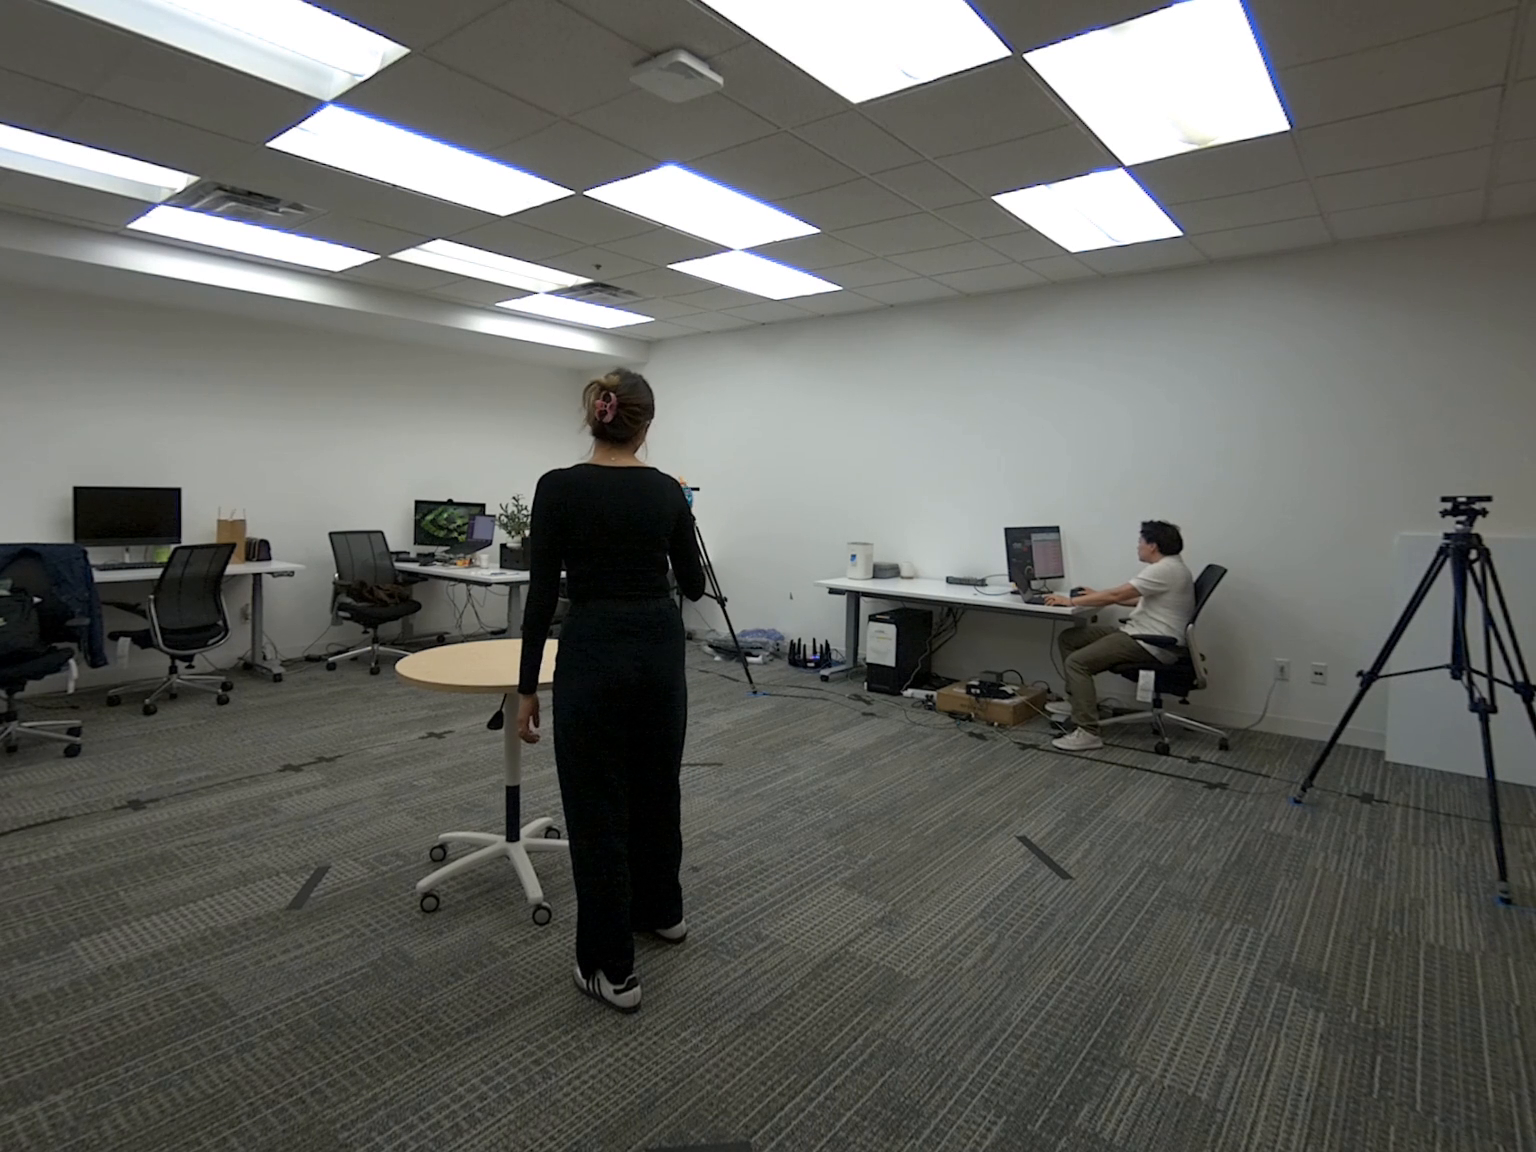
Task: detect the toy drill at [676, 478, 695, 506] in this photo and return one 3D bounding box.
[{"bbox_3d":[-0.297,-0.240,2.736,0.059,0.144,0.176,9,42,-24],"label":"toy drill"}]
